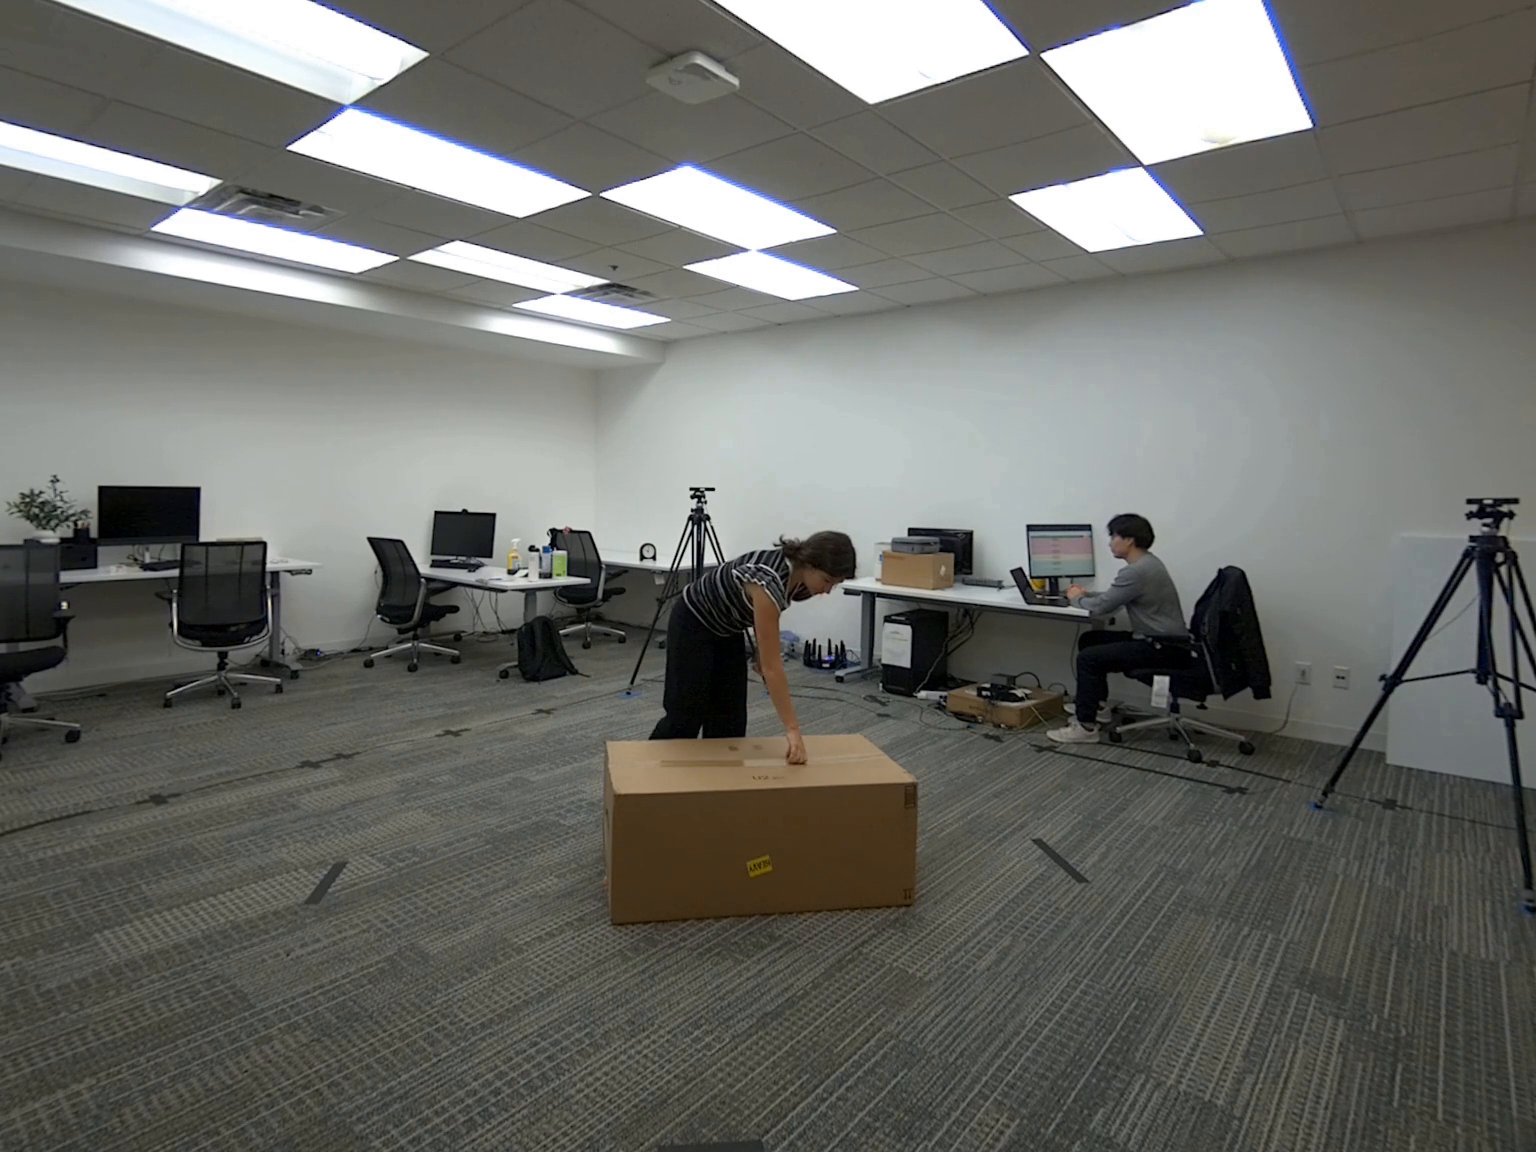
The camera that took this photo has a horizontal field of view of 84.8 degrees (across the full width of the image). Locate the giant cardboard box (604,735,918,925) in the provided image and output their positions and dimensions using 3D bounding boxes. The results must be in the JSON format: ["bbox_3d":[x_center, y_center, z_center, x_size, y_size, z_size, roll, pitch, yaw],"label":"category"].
[{"bbox_3d":[-0.070,0.865,3.043,1.014,0.425,0.586,0,4,-11],"label":"giant cardboard box"}]
